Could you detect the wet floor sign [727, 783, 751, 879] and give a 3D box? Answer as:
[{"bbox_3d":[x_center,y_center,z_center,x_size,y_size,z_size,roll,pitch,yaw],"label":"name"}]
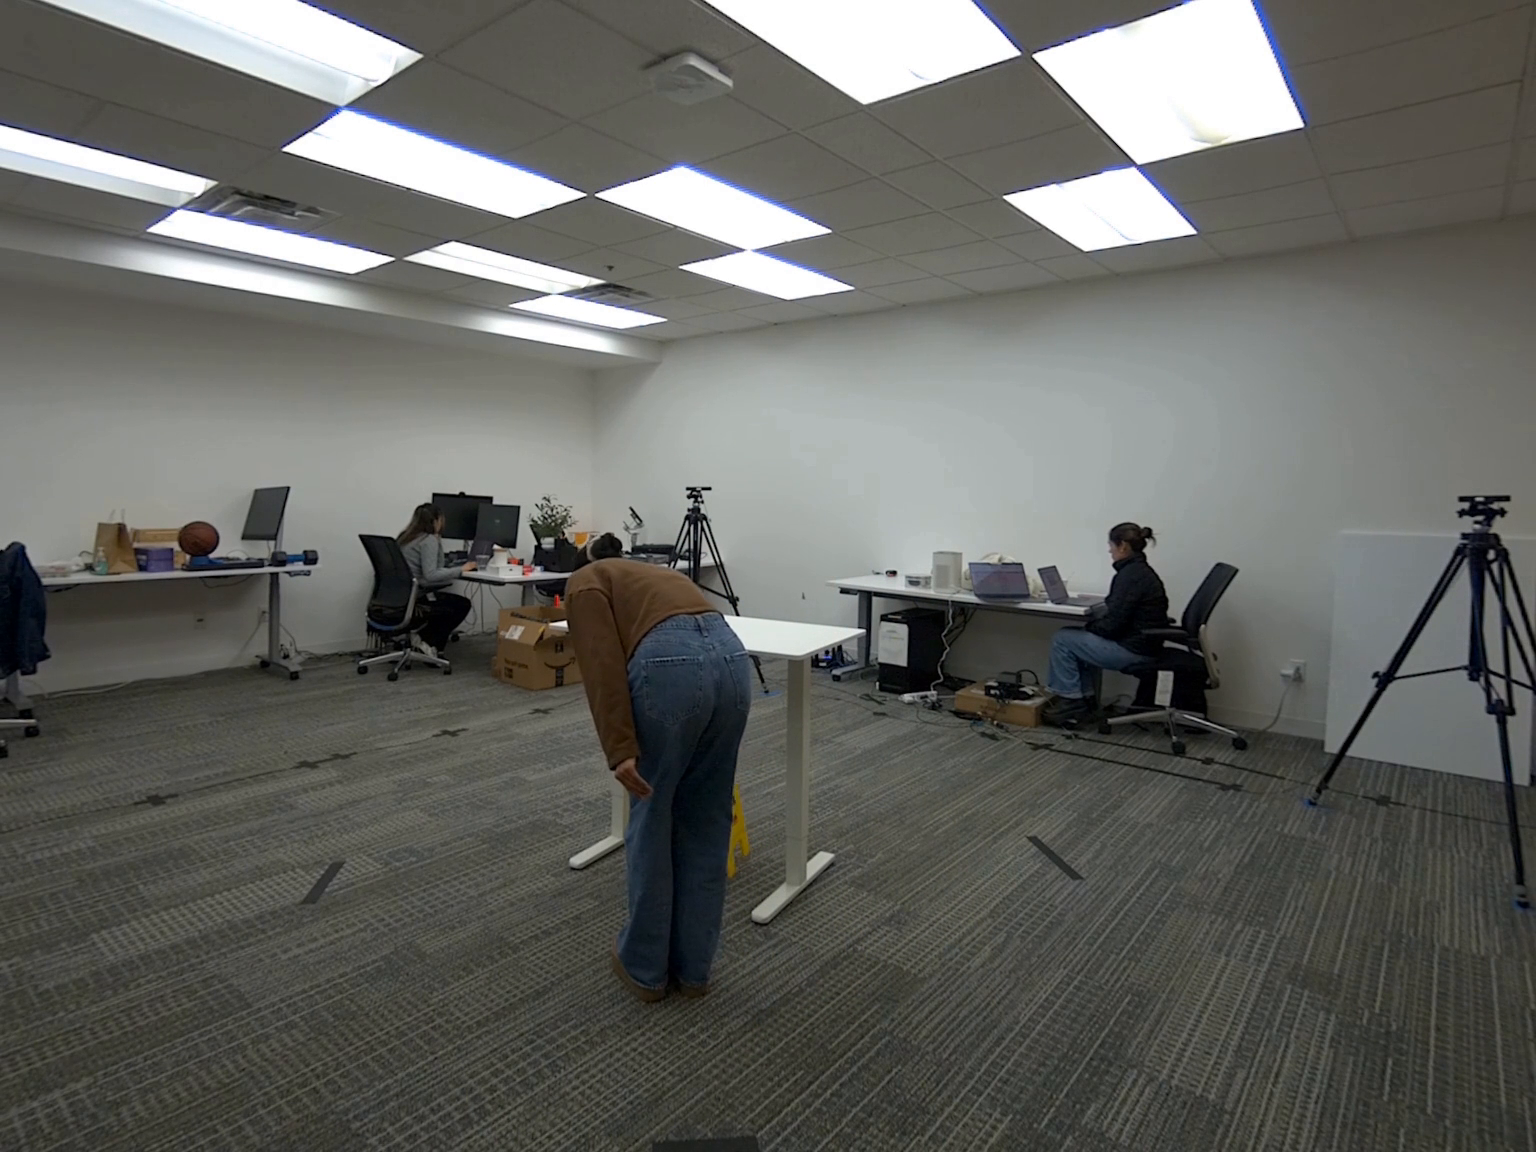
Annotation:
[{"bbox_3d":[-0.236,0.713,3.110,0.294,0.645,0.278,0,2,15],"label":"wet floor sign"}]
